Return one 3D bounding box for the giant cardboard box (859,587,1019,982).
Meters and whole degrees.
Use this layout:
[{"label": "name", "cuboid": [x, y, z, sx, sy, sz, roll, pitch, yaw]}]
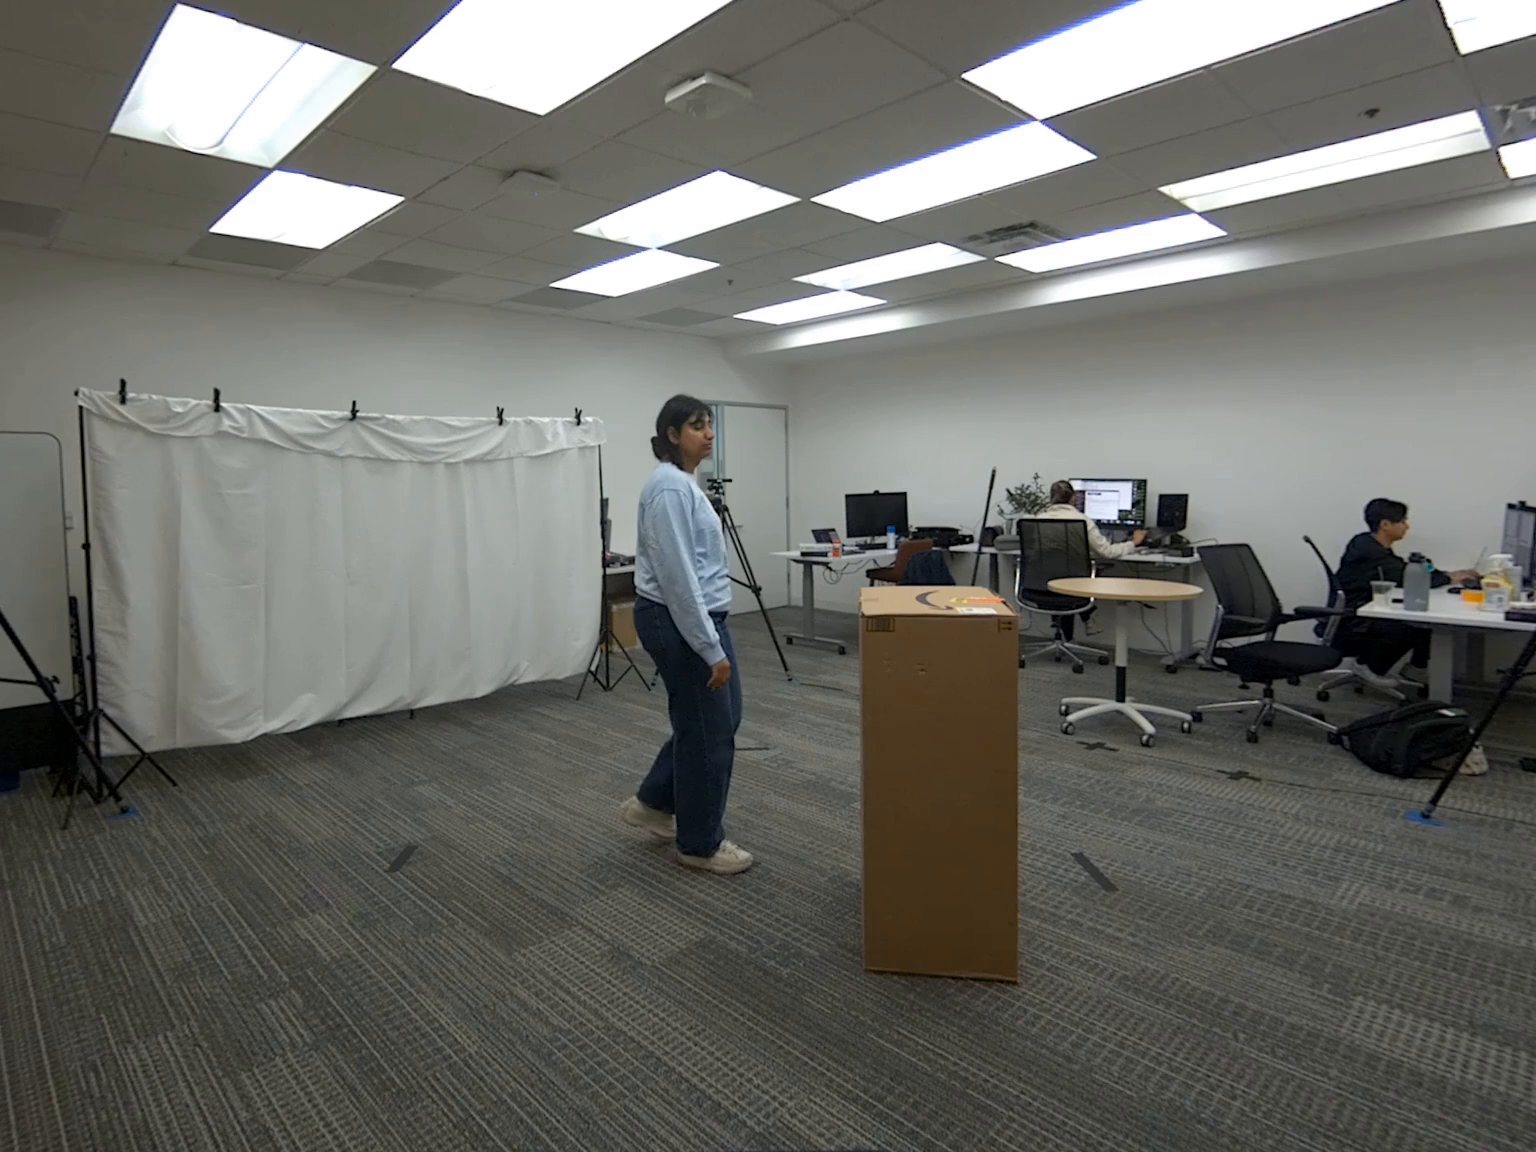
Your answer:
[{"label": "giant cardboard box", "cuboid": [0.508, 0.582, 2.627, 0.430, 1.022, 0.575, -1, 4, 7]}]
